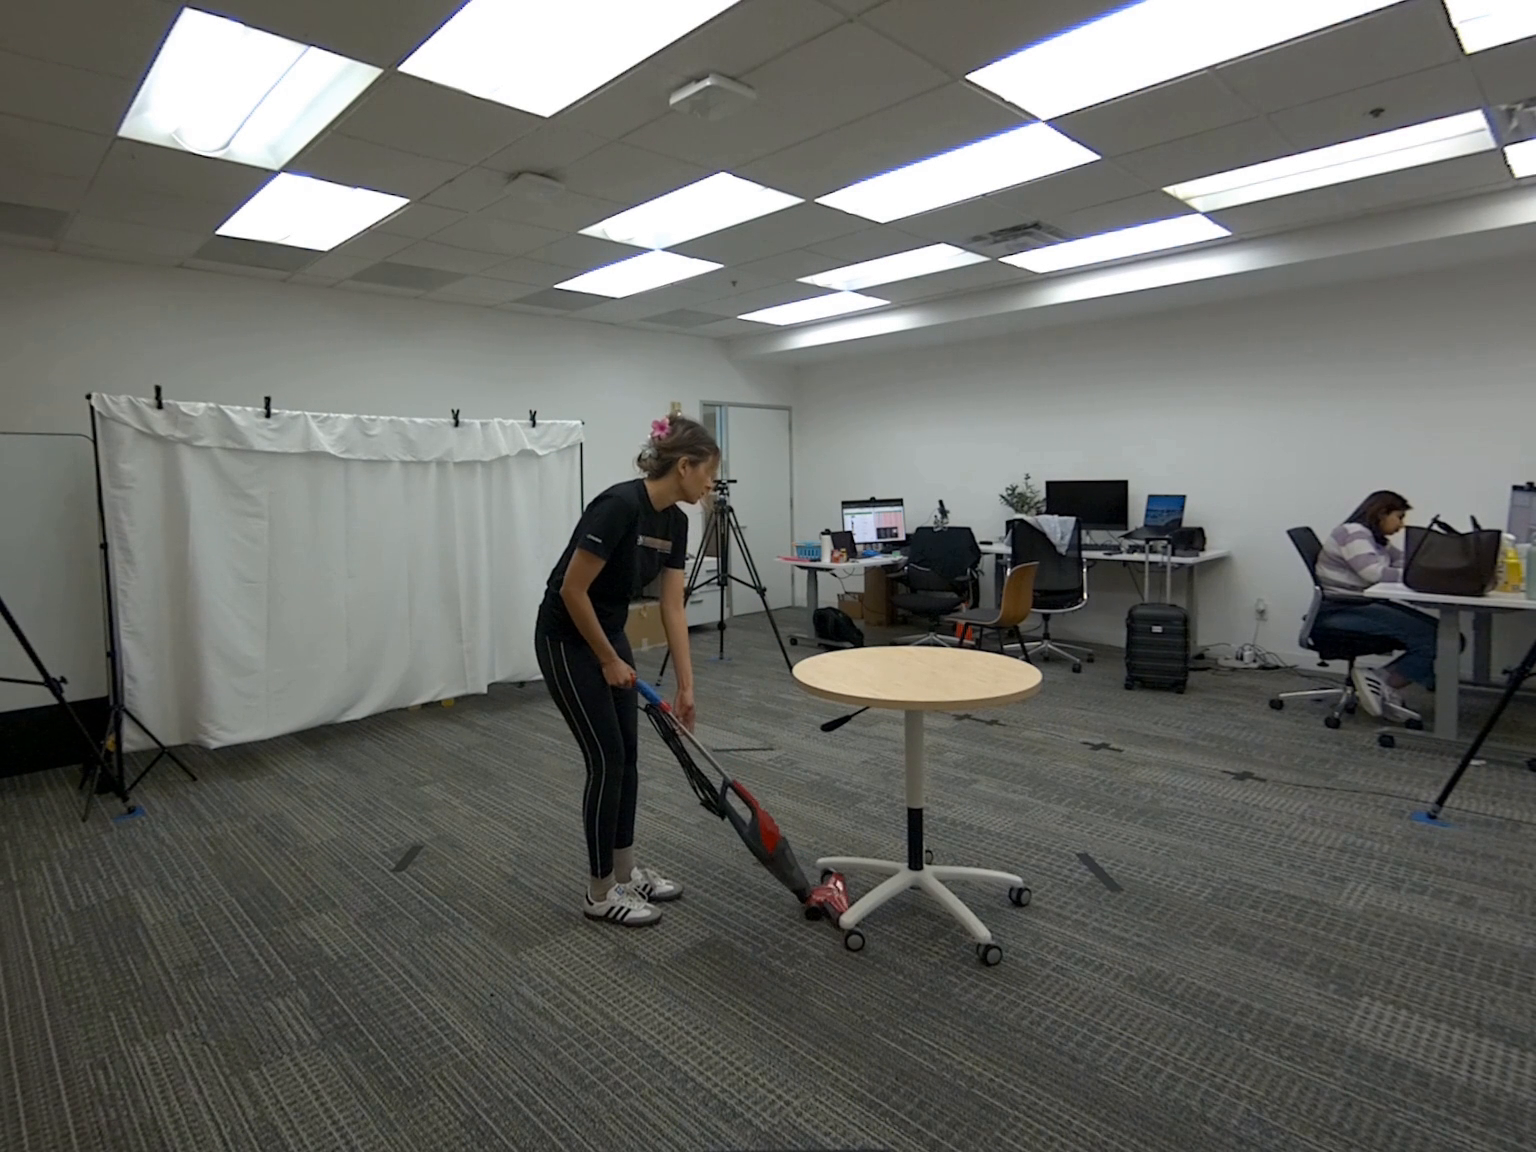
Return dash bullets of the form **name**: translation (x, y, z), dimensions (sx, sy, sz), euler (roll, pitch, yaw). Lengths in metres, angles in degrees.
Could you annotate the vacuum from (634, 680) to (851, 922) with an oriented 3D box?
- **vacuum**: translation (-0.162, 0.664, 2.723), dimensions (0.144, 1.042, 0.254), euler (-43, 5, 3)
